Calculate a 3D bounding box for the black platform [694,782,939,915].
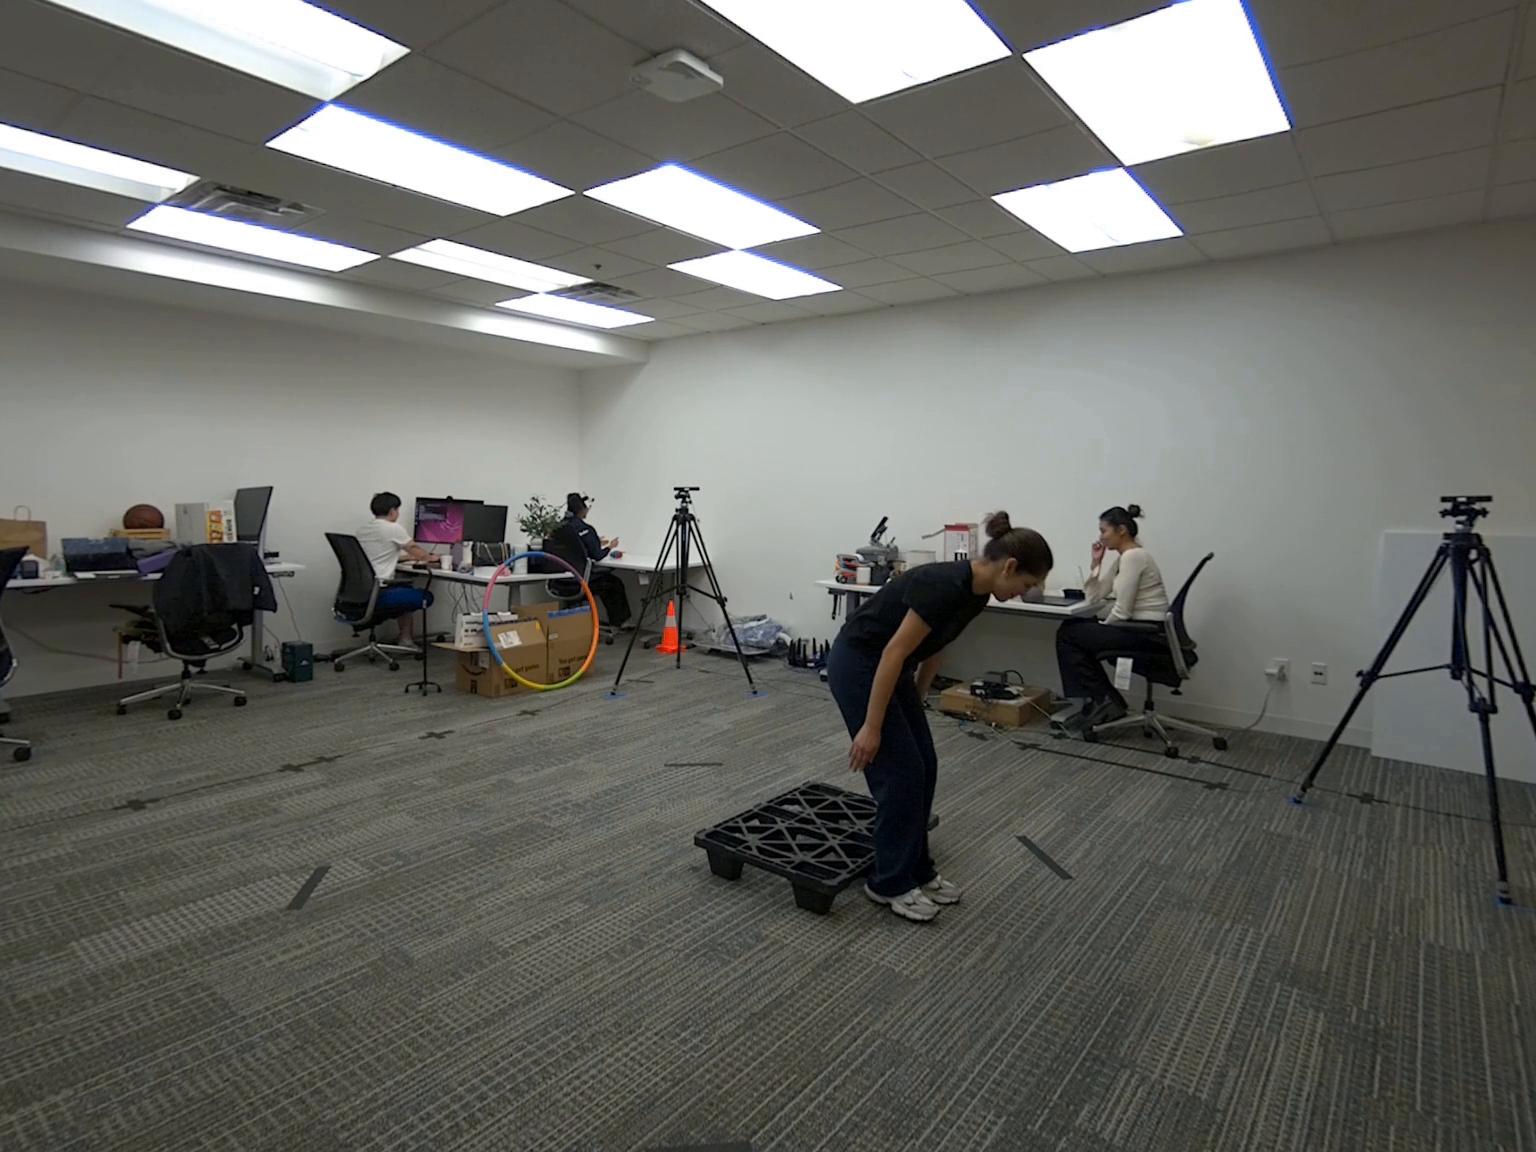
[{"bbox_3d":[0.205,0.998,3.210,0.625,0.143,0.782,5,6,38],"label":"black platform"}]
